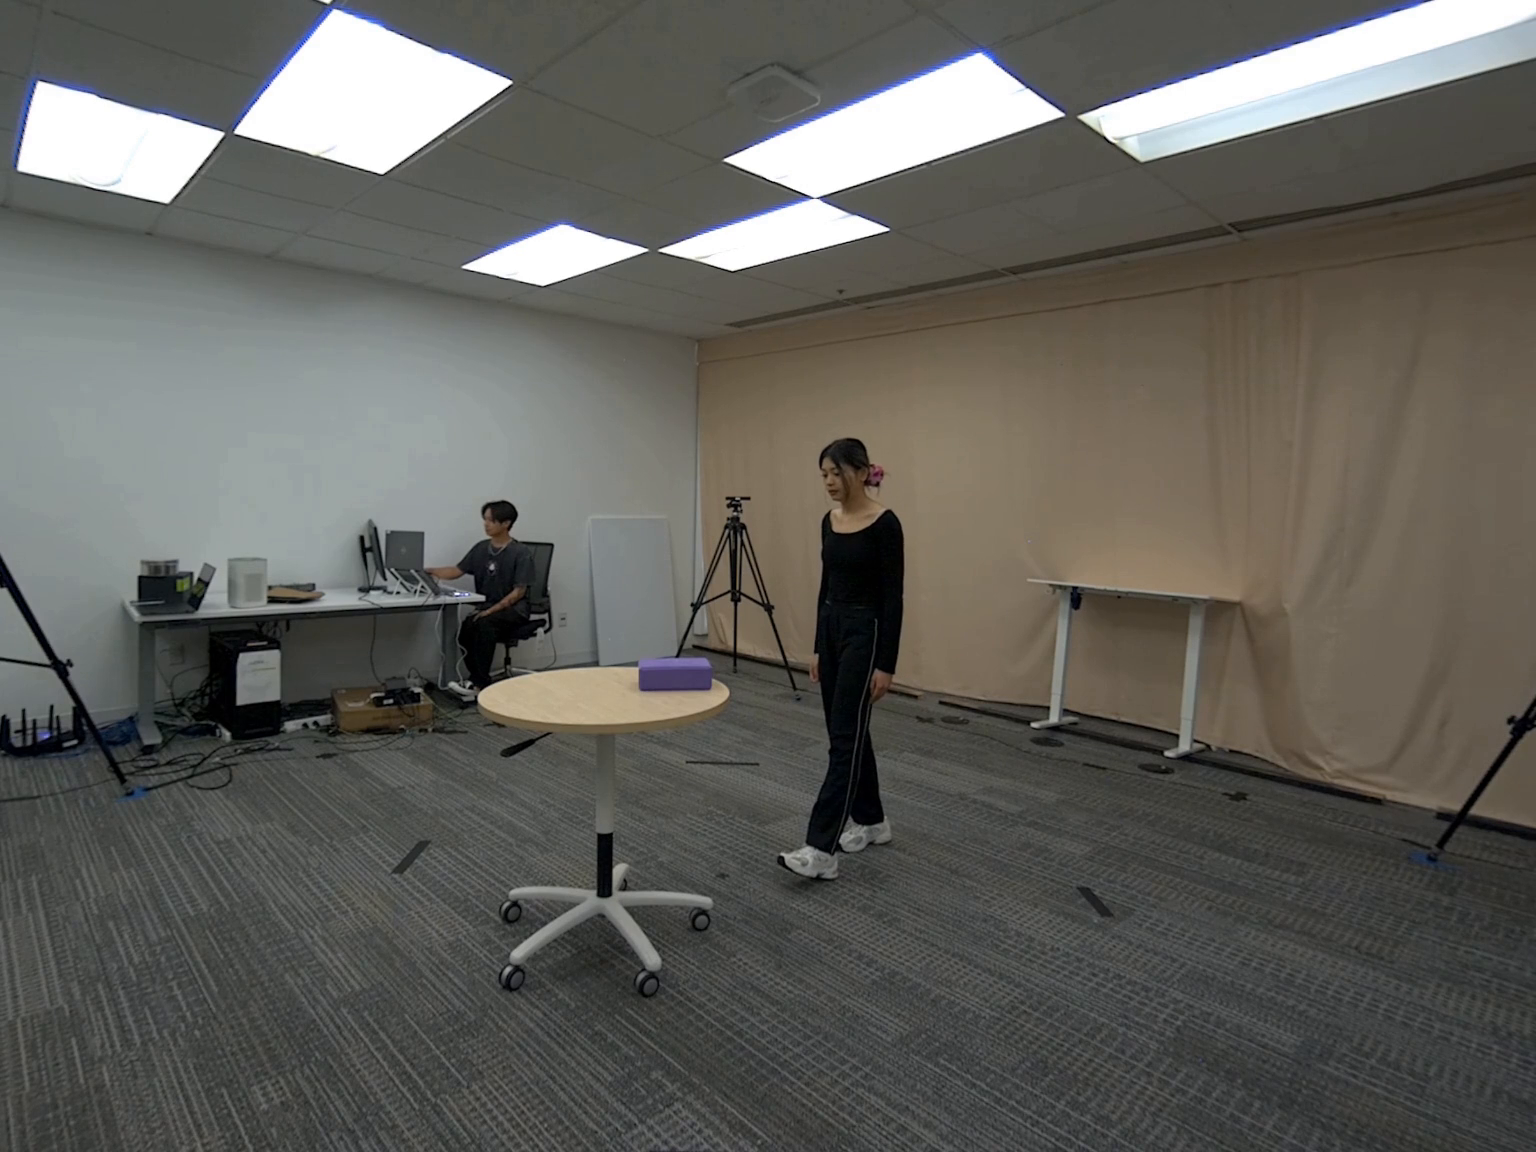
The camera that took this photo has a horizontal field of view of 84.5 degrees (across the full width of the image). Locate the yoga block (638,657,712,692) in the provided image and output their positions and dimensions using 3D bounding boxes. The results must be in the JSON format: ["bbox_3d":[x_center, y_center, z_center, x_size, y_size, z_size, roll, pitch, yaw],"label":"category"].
[{"bbox_3d":[-0.314,0.316,2.692,0.229,0.076,0.150,1,6,-3],"label":"yoga block"}]
